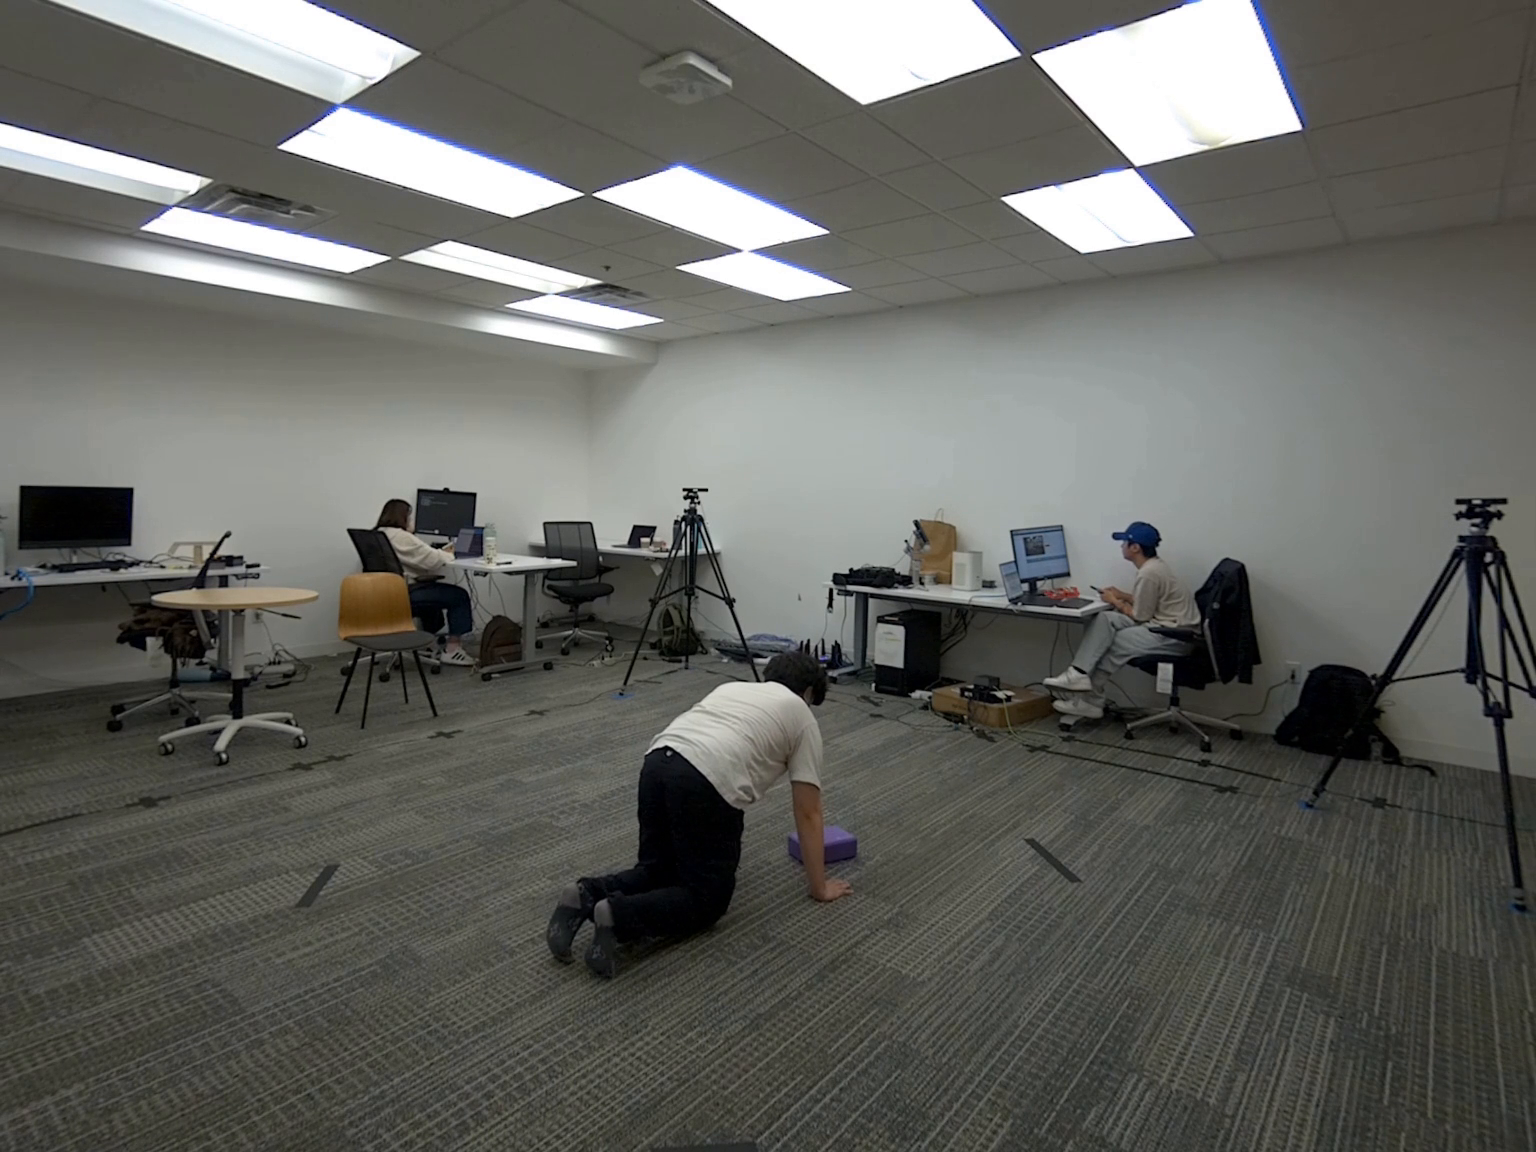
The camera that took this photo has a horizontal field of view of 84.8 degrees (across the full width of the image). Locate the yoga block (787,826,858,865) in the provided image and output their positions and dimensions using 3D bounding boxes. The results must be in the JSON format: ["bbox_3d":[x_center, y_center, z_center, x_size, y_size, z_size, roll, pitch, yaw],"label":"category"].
[{"bbox_3d":[0.202,1.025,3.248,0.223,0.076,0.153,-1,6,-29],"label":"yoga block"}]
